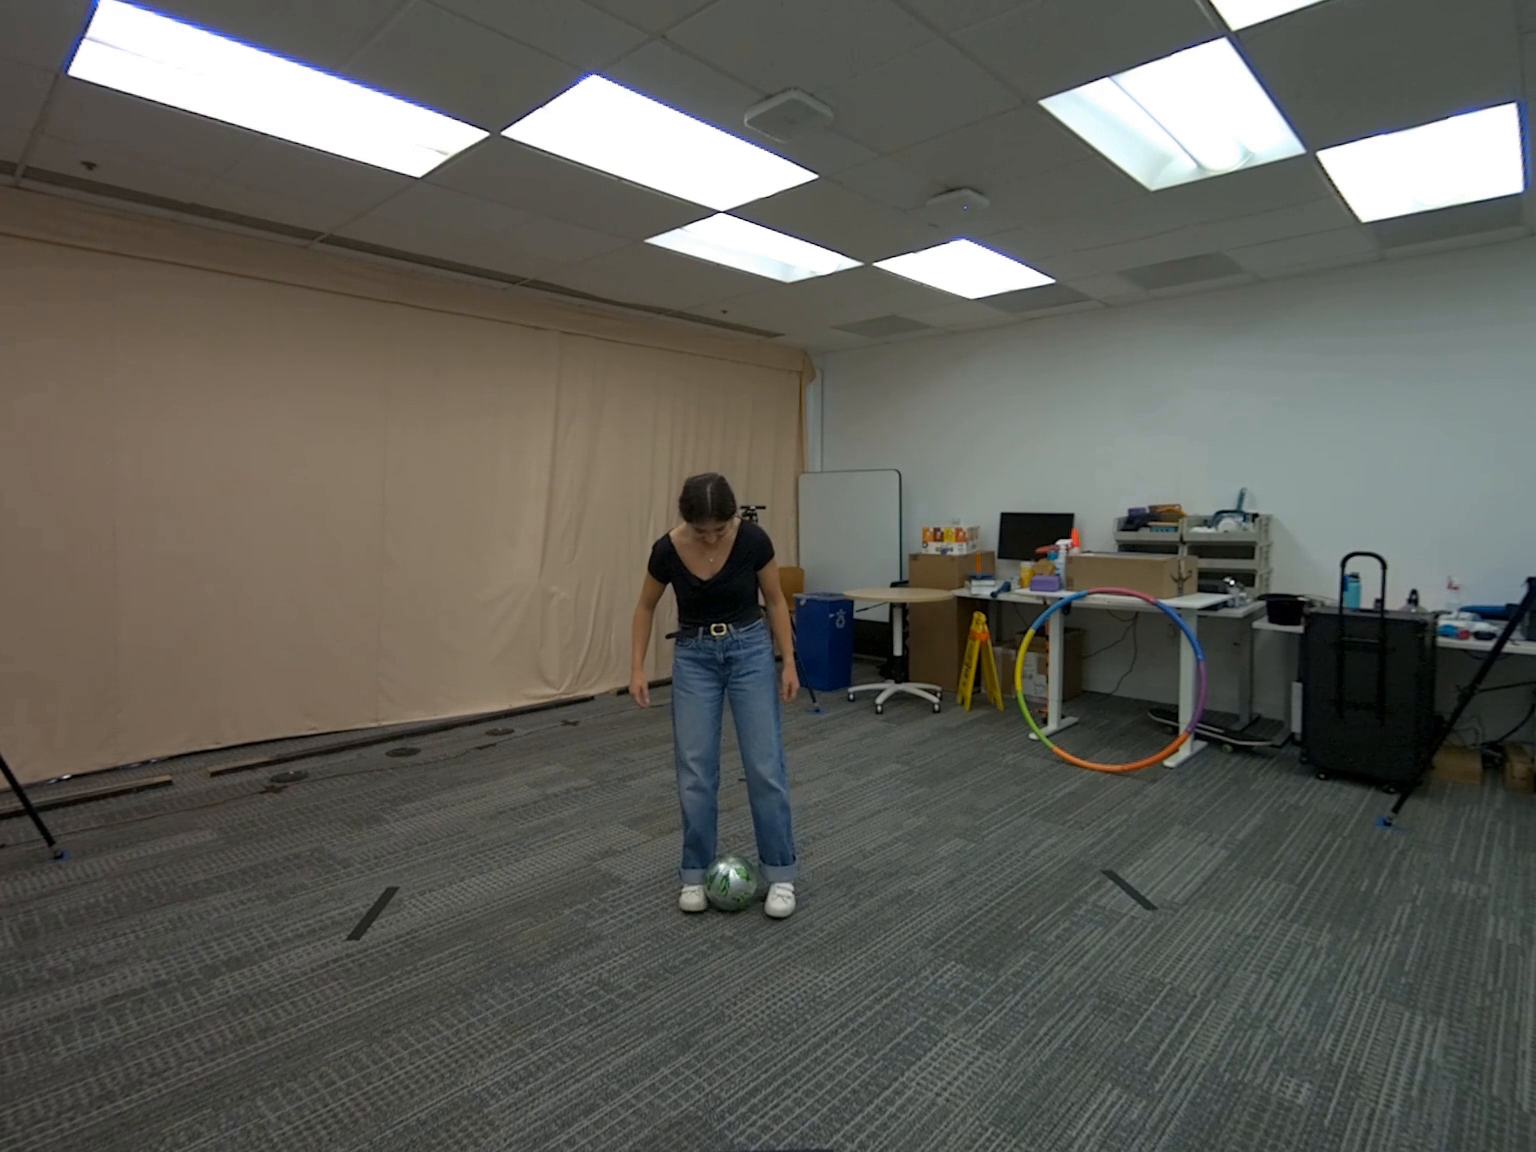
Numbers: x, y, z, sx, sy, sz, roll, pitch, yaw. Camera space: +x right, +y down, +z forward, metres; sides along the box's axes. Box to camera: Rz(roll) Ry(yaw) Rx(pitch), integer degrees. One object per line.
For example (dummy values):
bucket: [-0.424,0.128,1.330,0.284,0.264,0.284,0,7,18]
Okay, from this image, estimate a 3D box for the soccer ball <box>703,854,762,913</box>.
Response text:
soccer ball: [-0.110,1.065,2.903,0.187,0.187,0.188,0,4,-2]
